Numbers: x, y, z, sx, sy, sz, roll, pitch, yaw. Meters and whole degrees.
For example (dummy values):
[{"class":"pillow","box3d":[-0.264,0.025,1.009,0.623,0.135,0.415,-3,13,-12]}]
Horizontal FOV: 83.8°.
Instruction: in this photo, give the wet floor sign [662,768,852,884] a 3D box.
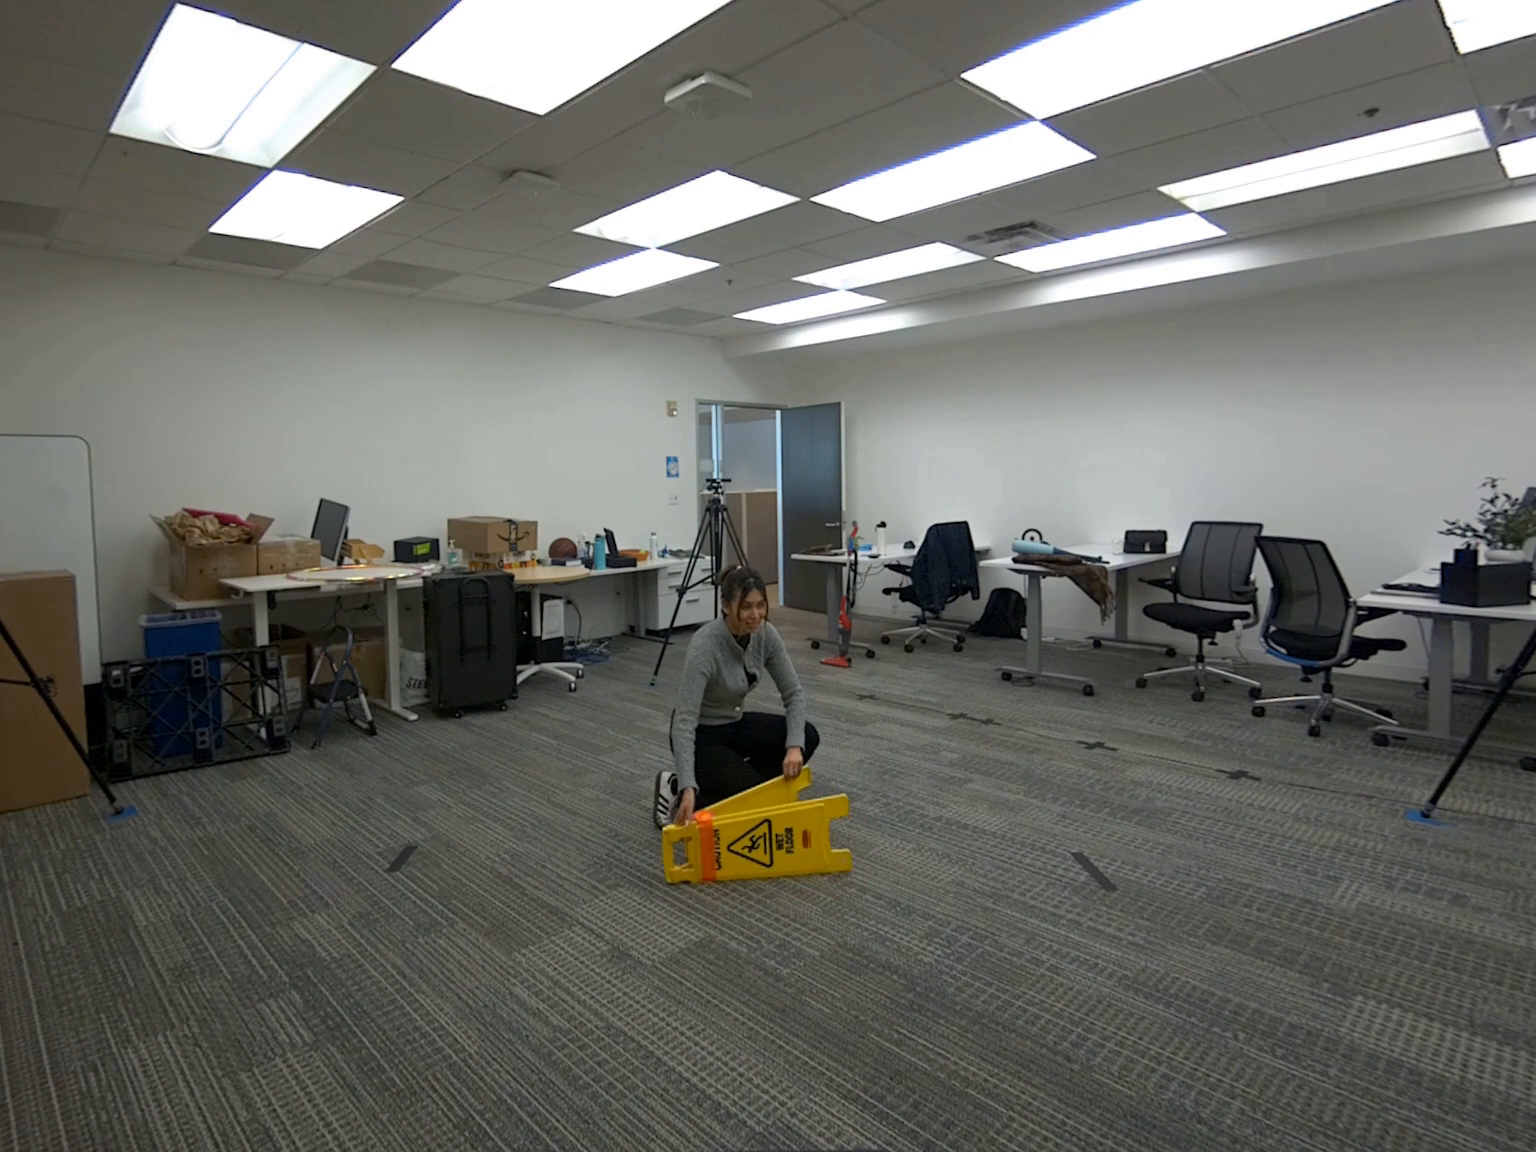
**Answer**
[{"class":"wet floor sign","box3d":[-0.064,0.927,3.049,0.635,0.280,0.297,-8,8,-21]}]
